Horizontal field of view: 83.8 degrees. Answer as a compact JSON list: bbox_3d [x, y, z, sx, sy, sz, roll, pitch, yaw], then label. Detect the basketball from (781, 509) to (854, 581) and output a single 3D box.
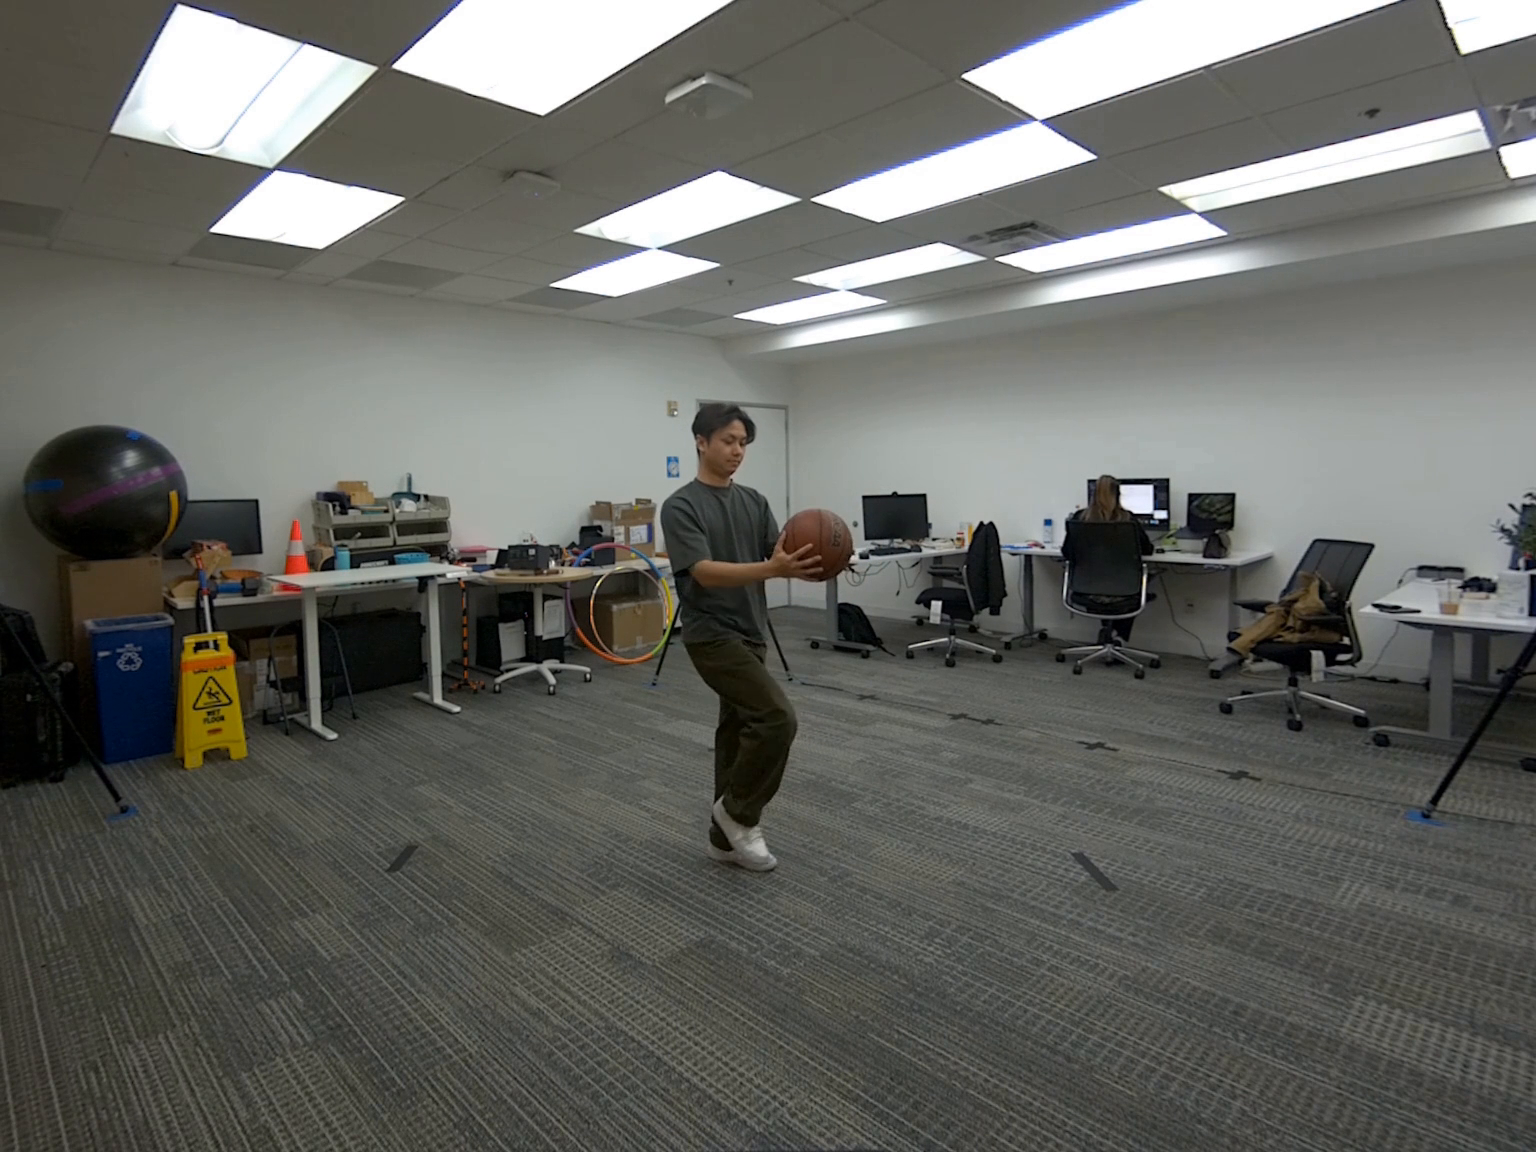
[{"bbox_3d":[0.157,-0.107,2.760,0.236,0.235,0.237,-1,5,-2],"label":"basketball"}]
